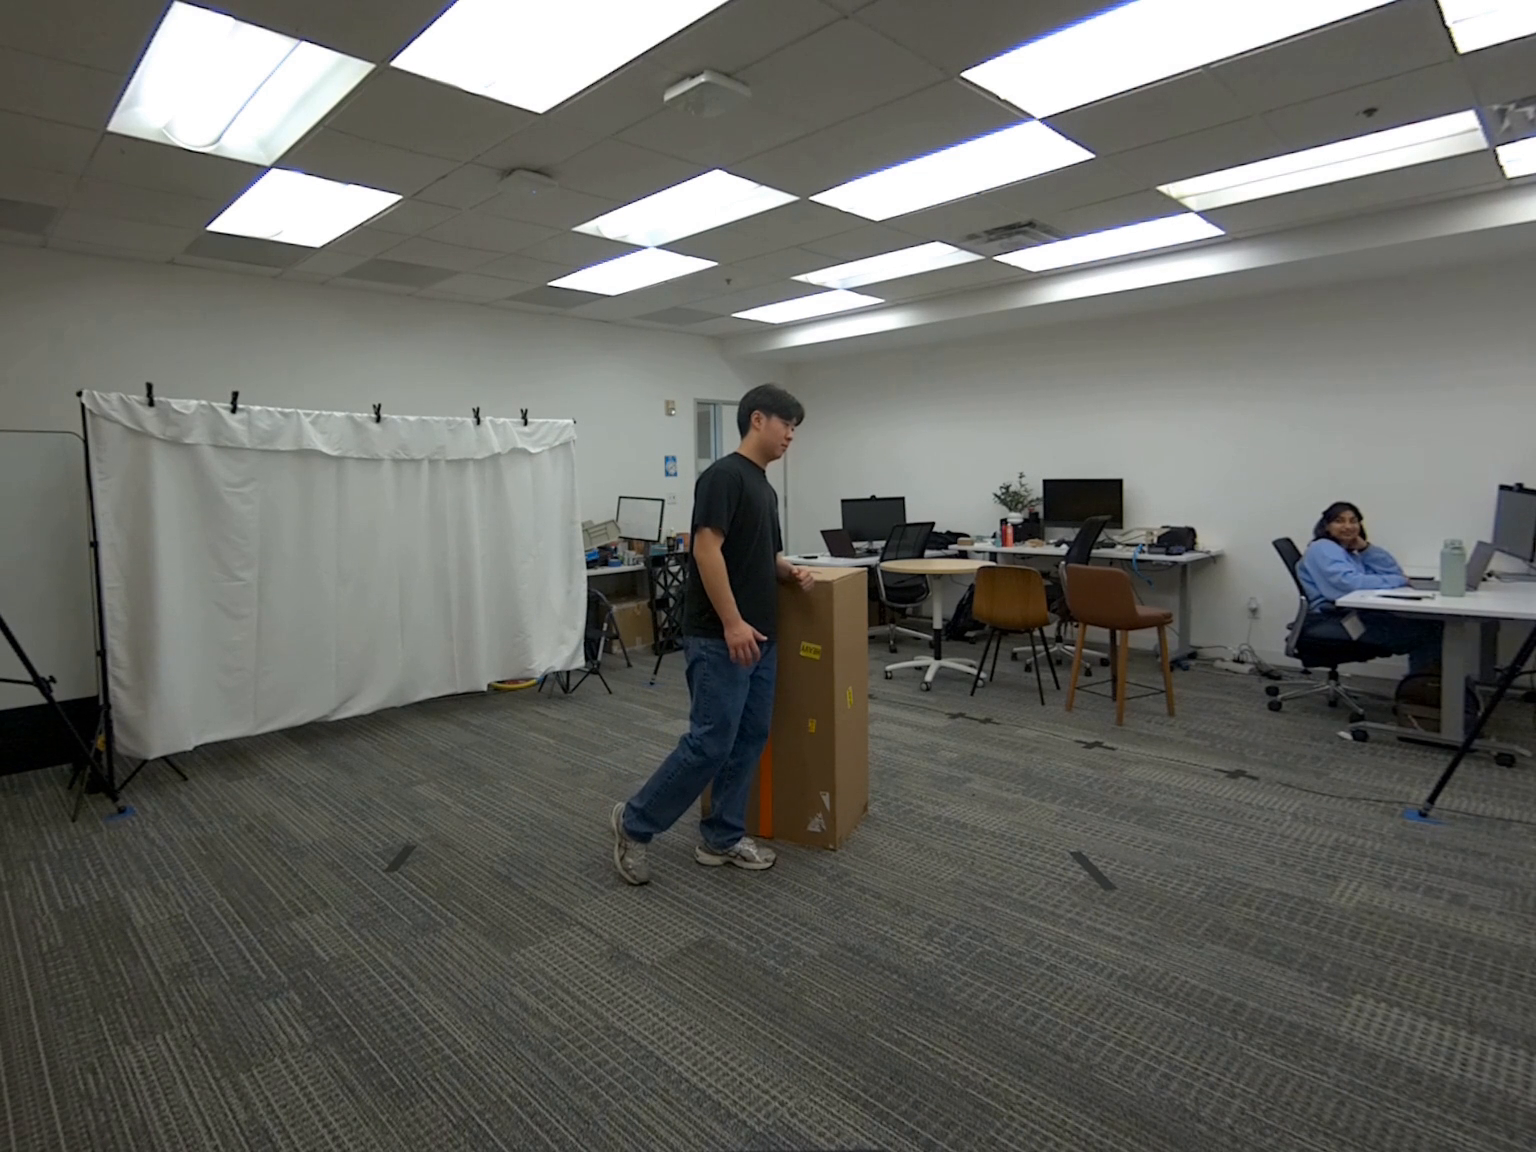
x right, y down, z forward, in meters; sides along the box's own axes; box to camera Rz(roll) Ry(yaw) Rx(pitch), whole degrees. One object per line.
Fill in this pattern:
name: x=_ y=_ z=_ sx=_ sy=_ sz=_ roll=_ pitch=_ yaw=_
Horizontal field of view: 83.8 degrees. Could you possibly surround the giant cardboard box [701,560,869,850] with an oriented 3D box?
giant cardboard box: x=0.073 y=0.485 z=3.475 sx=0.598 sy=1.022 sz=0.438 roll=1 pitch=6 yaw=27
